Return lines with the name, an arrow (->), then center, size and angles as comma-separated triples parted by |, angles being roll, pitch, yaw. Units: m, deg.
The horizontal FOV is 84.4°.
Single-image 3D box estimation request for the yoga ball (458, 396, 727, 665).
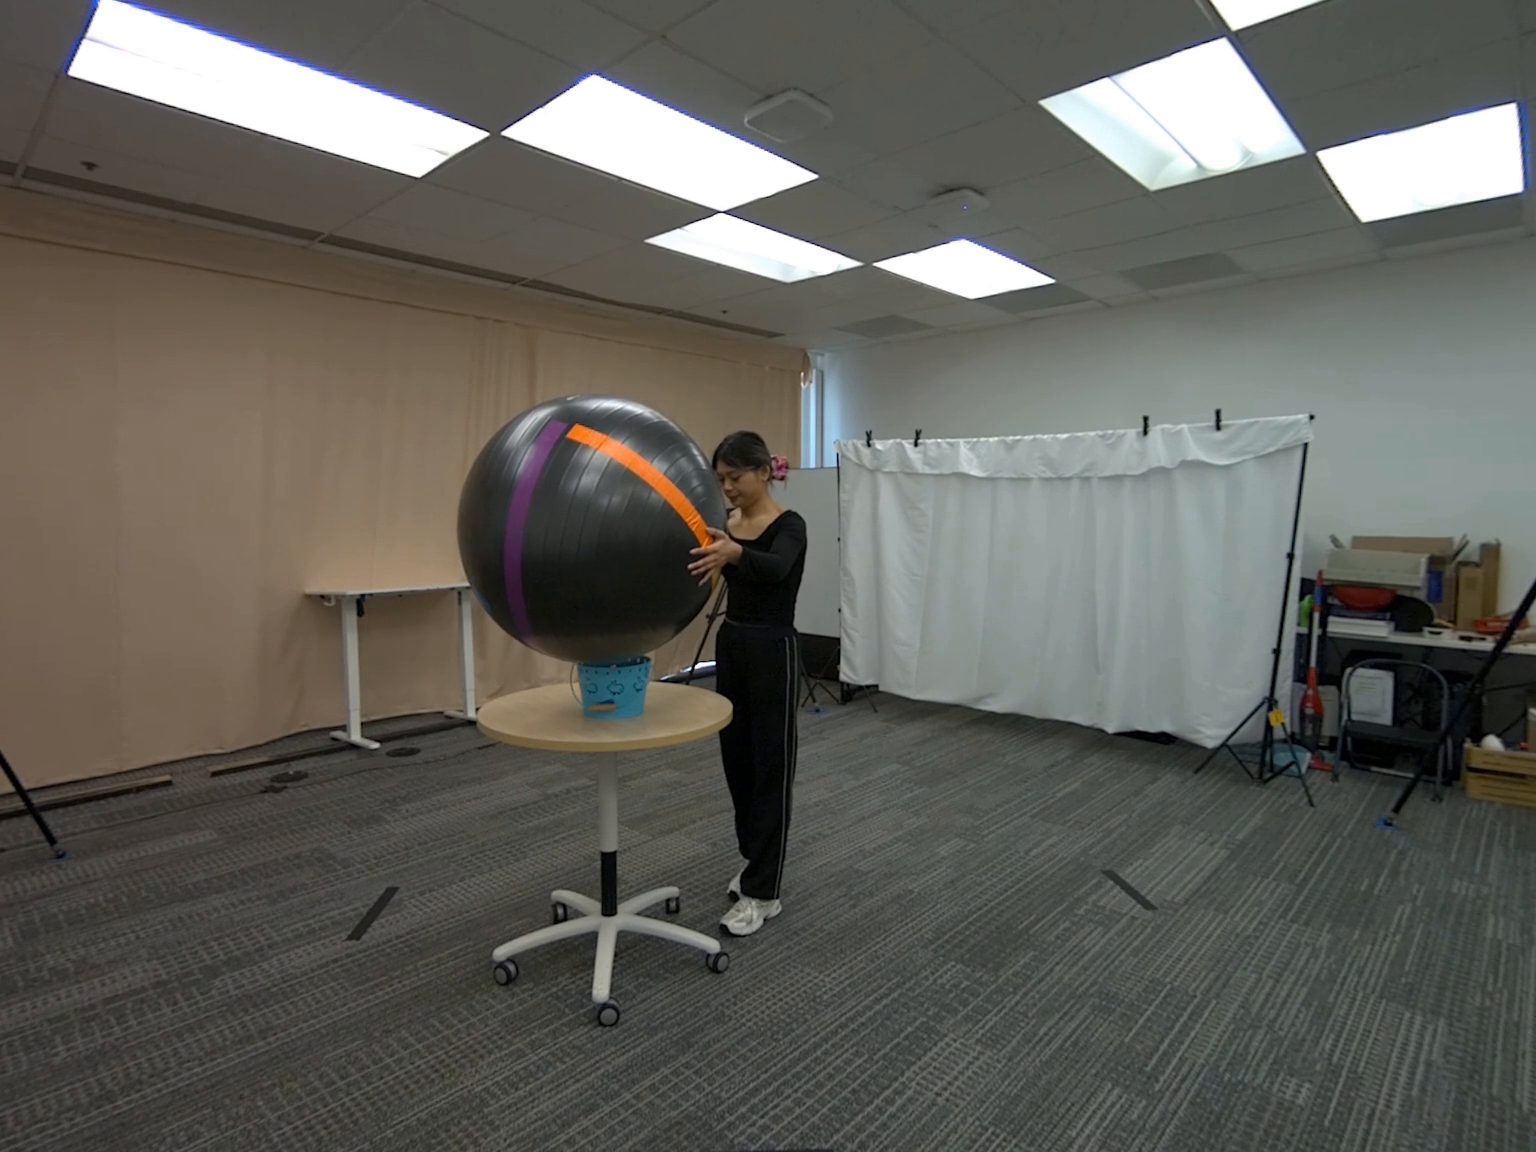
yoga ball -> -0.501, -0.127, 2.387 | 0.757, 0.756, 0.760 | 0, 4, -2
